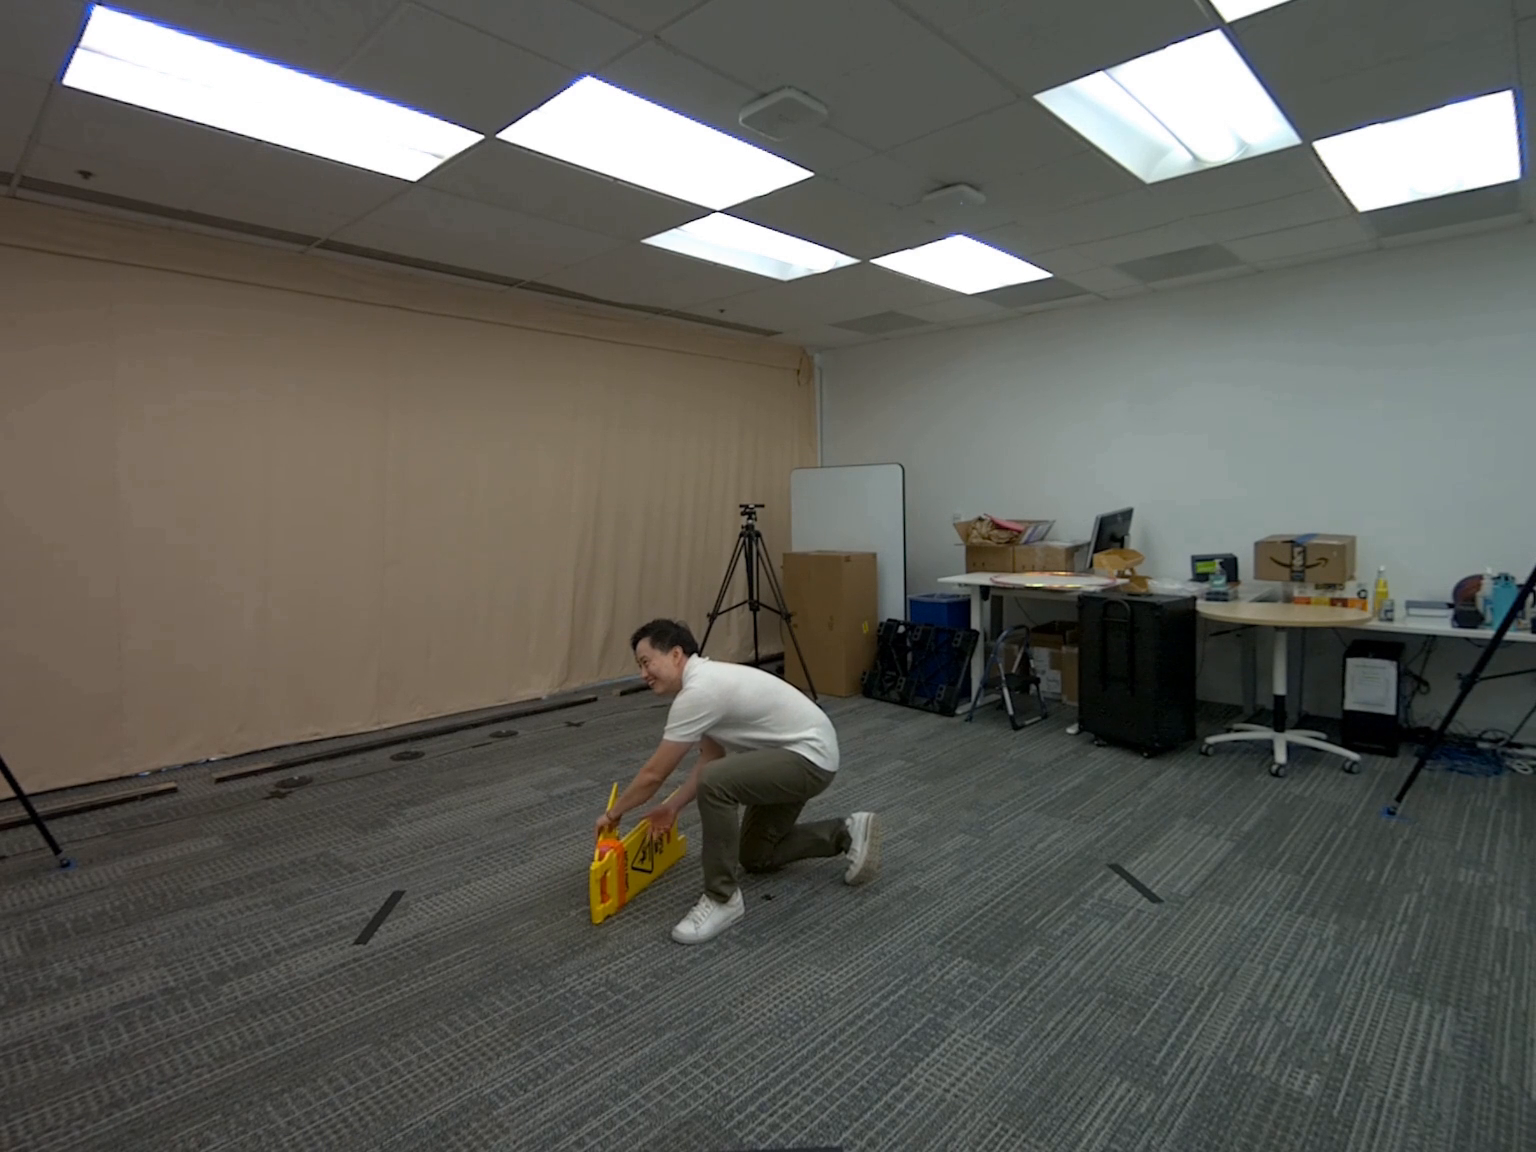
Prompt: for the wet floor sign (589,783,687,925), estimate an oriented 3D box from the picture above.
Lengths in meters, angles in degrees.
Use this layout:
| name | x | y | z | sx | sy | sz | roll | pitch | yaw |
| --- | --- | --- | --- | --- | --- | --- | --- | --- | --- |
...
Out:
| name | x | y | z | sx | sy | sz | roll | pitch | yaw |
| --- | --- | --- | --- | --- | --- | --- | --- | --- | --- |
| wet floor sign | -0.521 | 1.015 | 3.092 | 0.293 | 0.281 | 0.641 | 0 | 8 | 9 |
